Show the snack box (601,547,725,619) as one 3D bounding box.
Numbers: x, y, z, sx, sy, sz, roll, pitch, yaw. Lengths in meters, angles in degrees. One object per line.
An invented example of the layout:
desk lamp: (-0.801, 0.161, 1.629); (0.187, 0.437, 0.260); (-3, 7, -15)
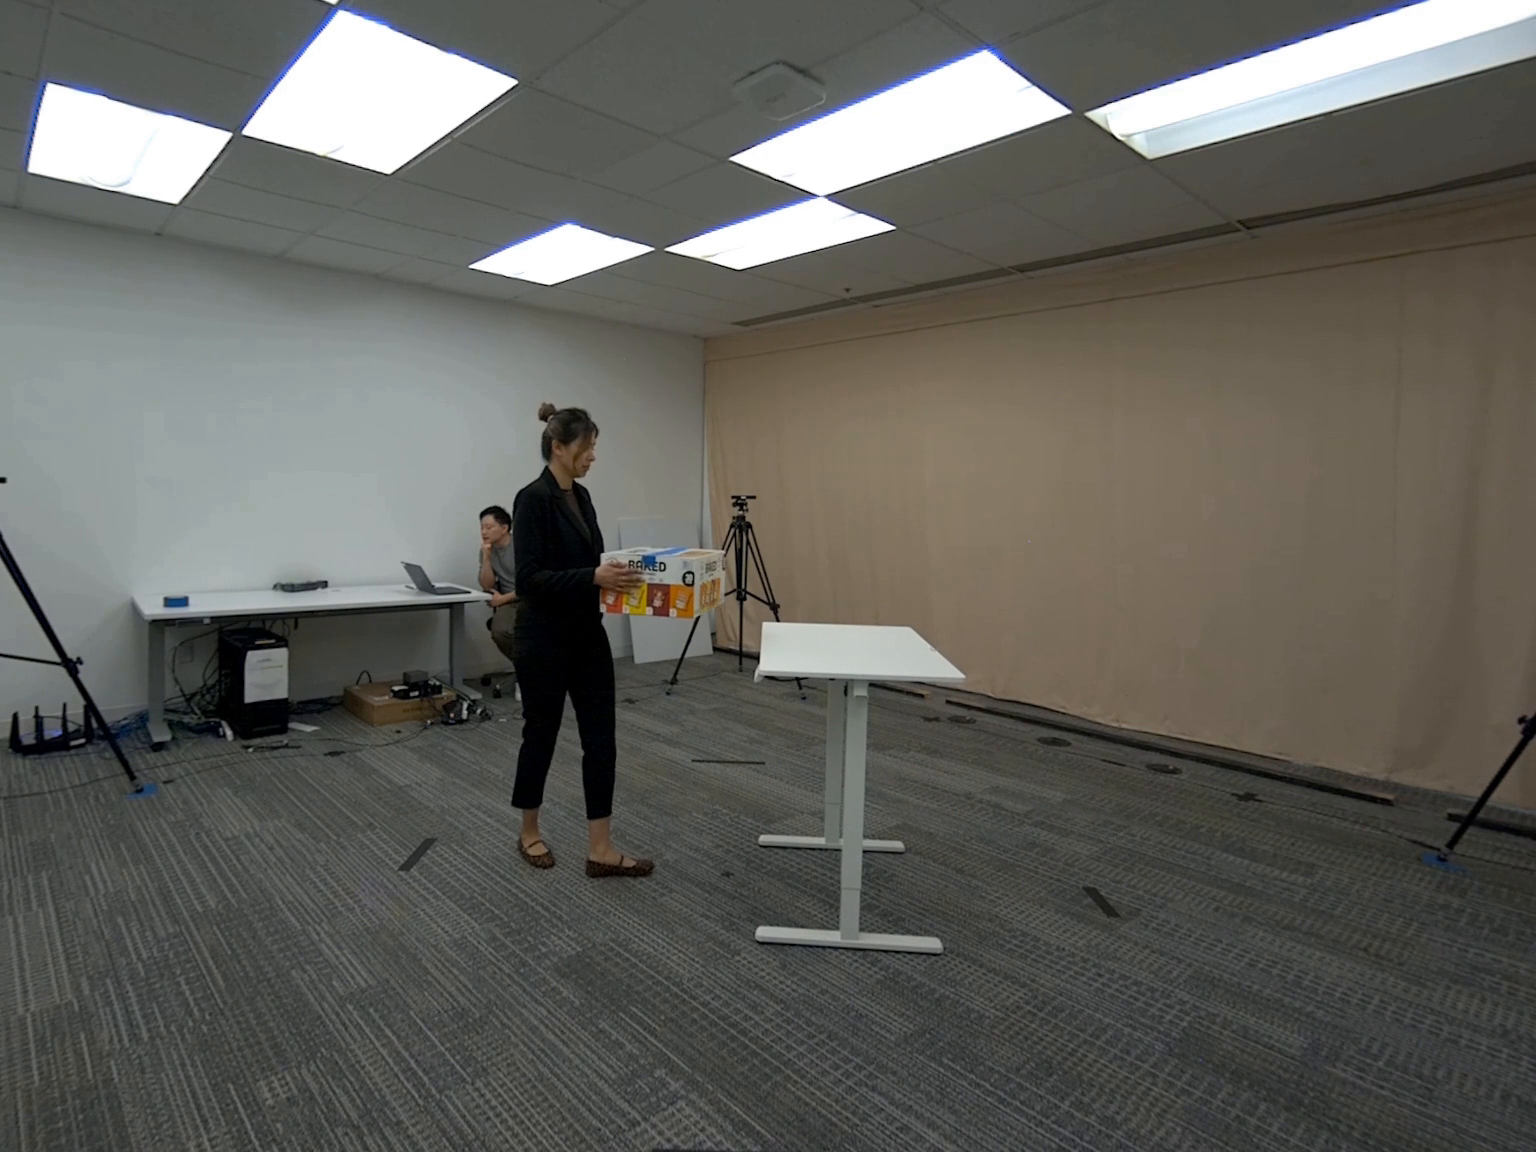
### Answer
snack box: (-0.378, 0.008, 3.021); (0.344, 0.205, 0.402); (3, 6, 12)
